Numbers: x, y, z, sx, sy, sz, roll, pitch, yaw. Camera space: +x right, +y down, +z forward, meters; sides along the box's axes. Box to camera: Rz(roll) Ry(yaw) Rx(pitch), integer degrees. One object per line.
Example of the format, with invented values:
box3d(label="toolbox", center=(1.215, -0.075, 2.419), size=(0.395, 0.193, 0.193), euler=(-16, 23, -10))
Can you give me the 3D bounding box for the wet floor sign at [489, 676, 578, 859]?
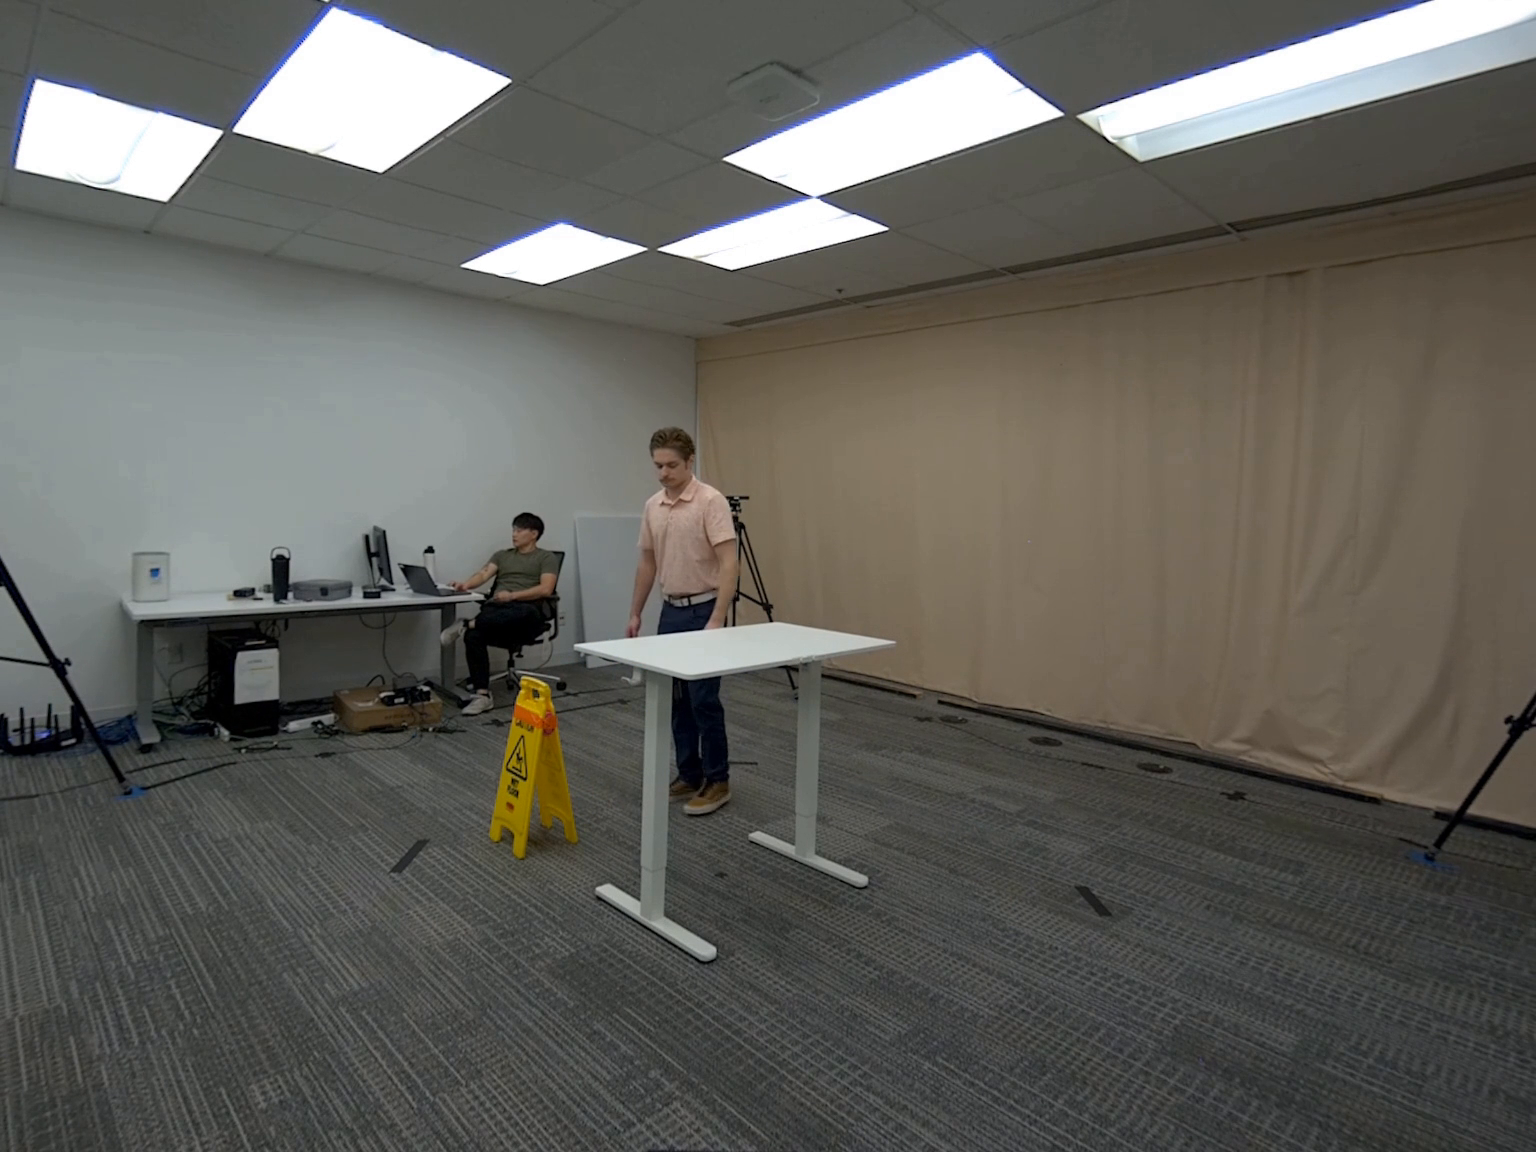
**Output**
box3d(label="wet floor sign", center=(-0.939, 0.741, 3.367), size=(0.283, 0.644, 0.289), euler=(-1, 5, -44))
